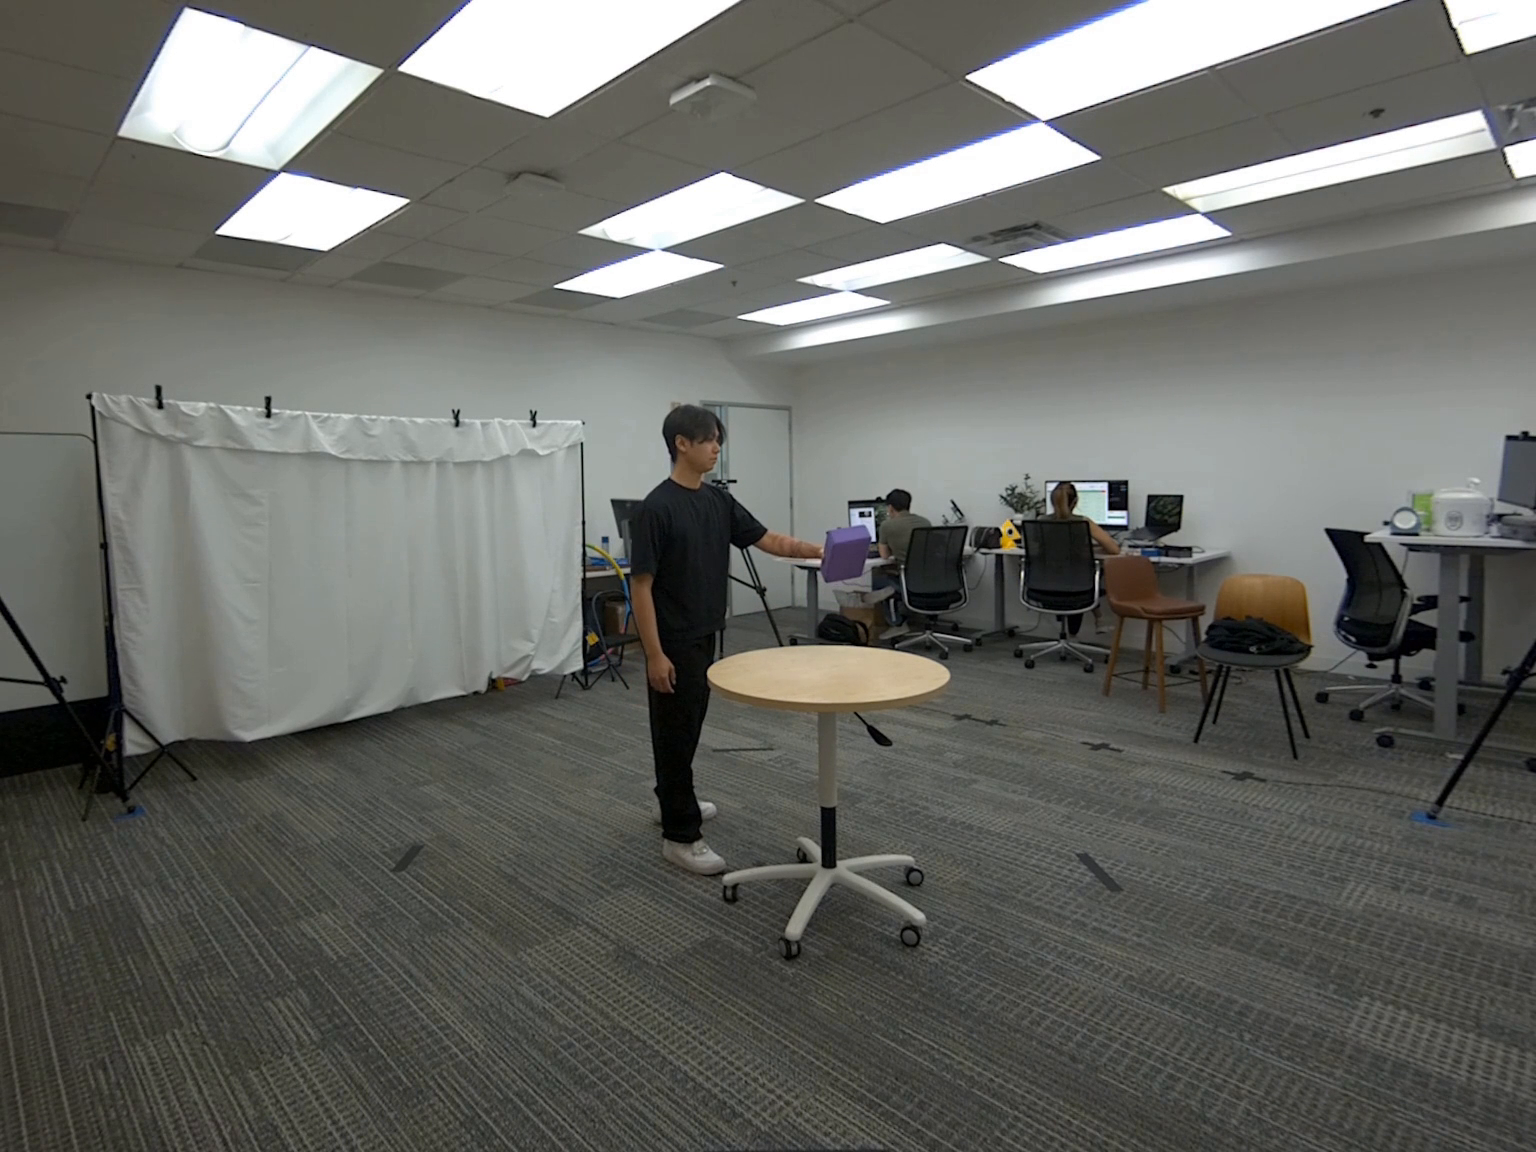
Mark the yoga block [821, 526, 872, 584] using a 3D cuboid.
[{"bbox_3d":[0.280,-0.077,3.106,0.148,0.223,0.079,-8,49,-11],"label":"yoga block"}]
